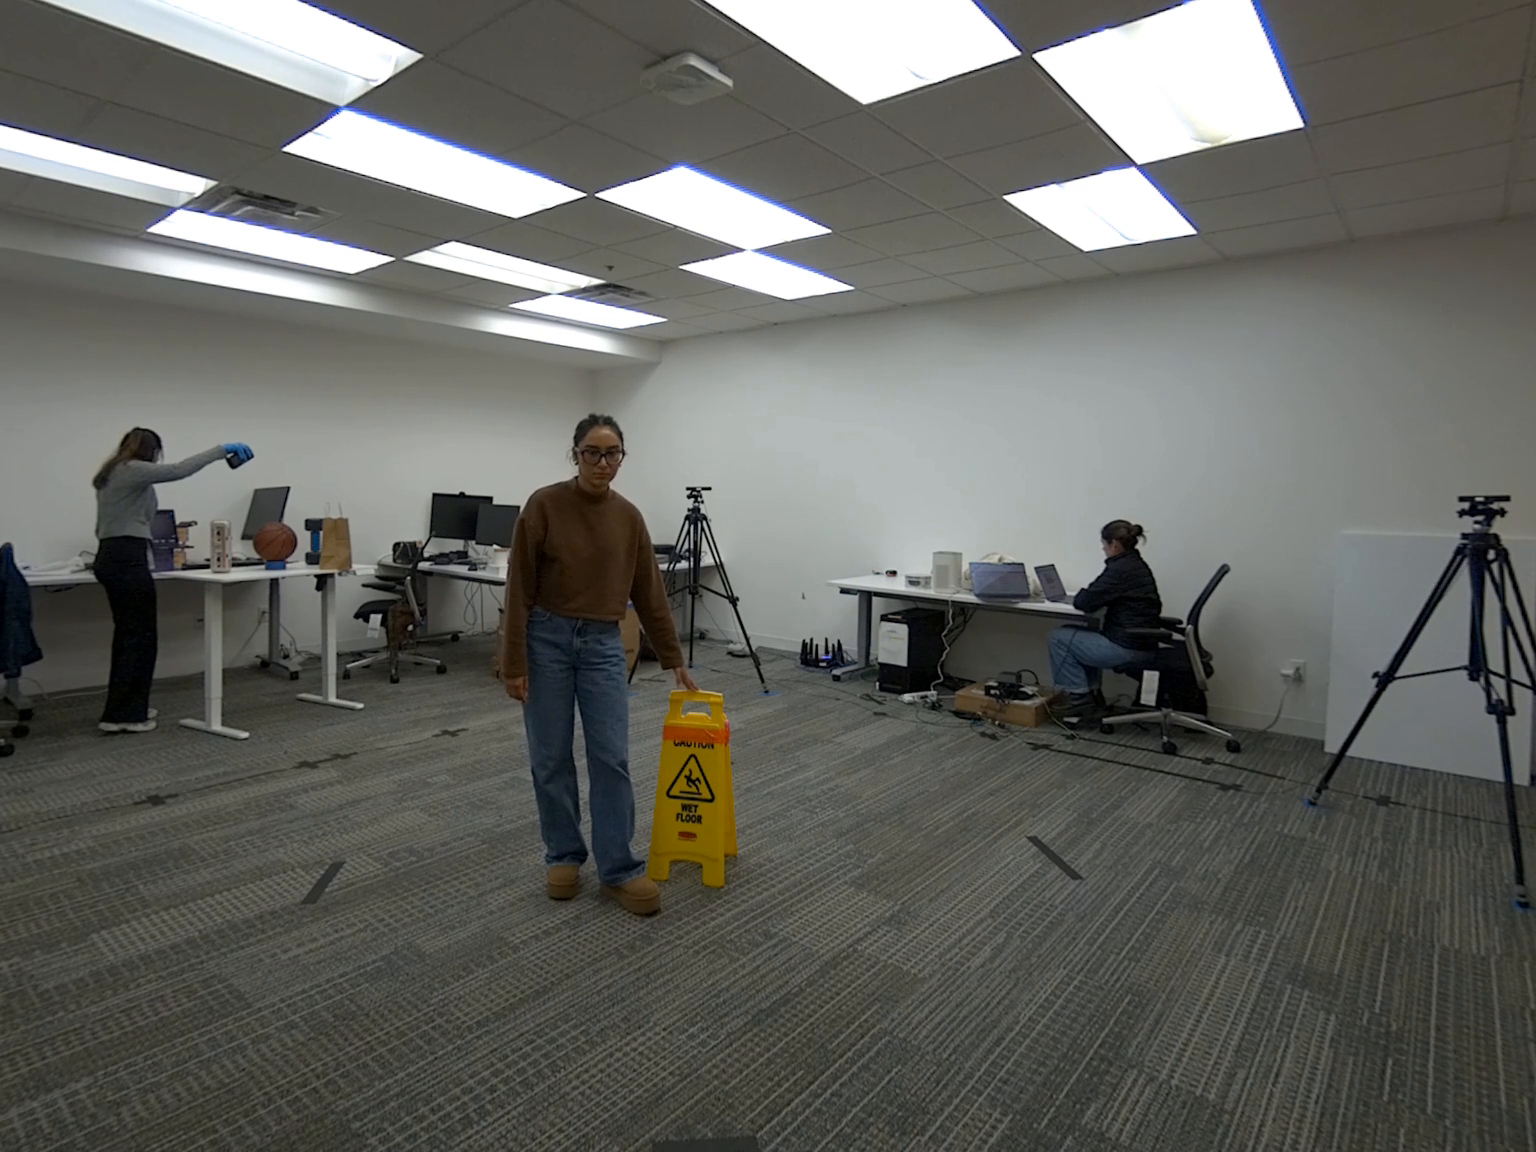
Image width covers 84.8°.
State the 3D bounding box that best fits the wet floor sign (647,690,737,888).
[{"bbox_3d":[-0.283,0.740,3.096,0.286,0.644,0.287,0,3,10],"label":"wet floor sign"}]
